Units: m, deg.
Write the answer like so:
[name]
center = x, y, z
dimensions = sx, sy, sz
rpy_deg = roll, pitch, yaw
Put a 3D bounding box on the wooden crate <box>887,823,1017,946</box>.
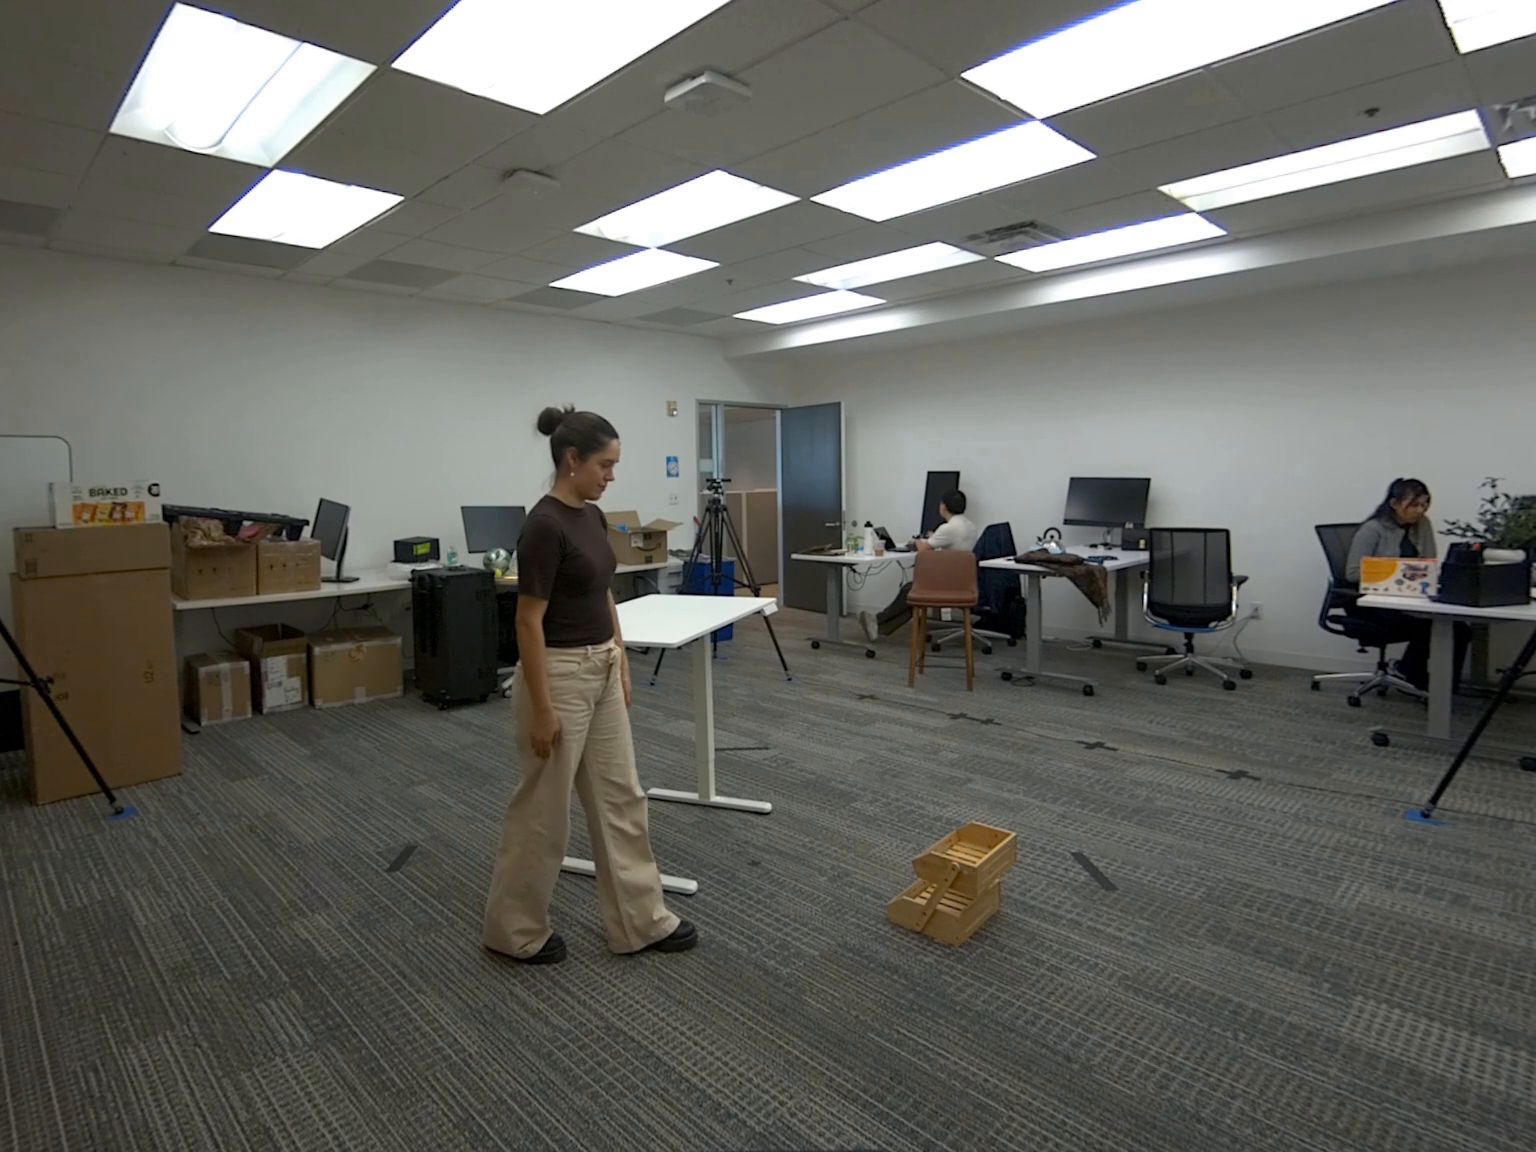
[wooden crate]
center = 0.586, 0.948, 2.691
dimensions = 0.311, 0.272, 0.316
rpy_deg = 4, 7, 39
